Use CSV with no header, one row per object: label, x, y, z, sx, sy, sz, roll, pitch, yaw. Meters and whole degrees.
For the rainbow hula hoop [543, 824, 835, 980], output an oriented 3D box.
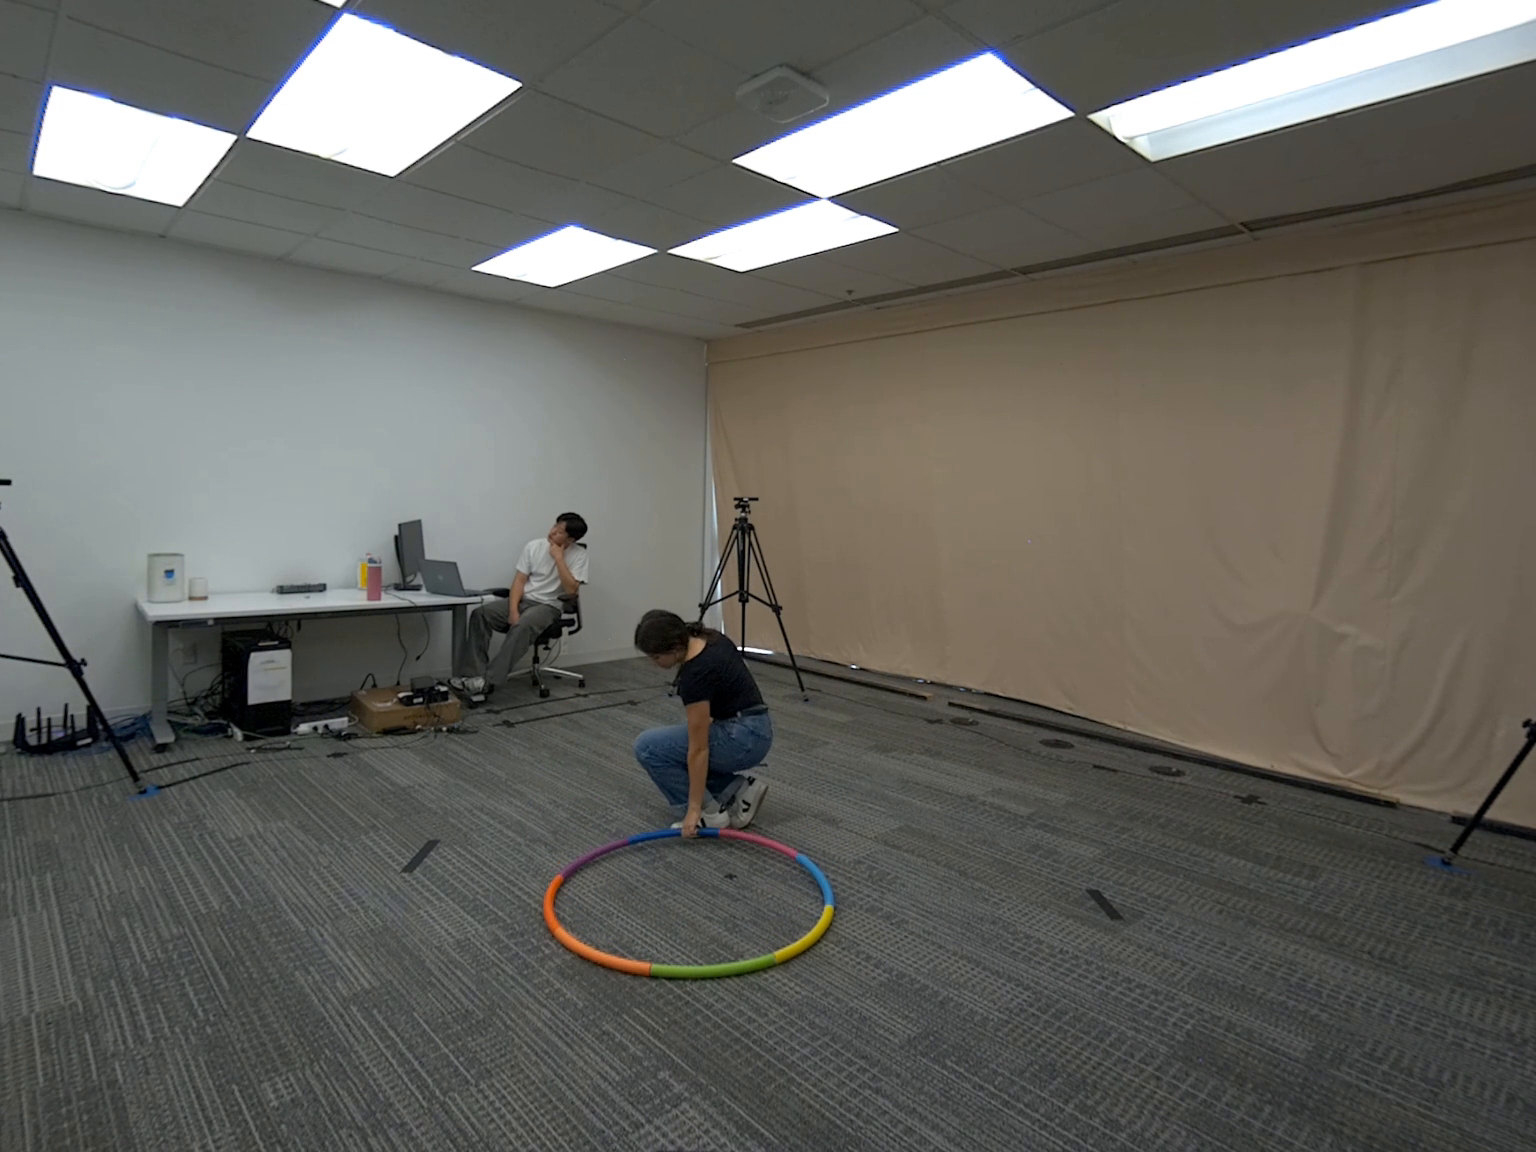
rainbow hula hoop,-0.270,1.082,2.901,0.978,0.035,0.984,1,7,-1
